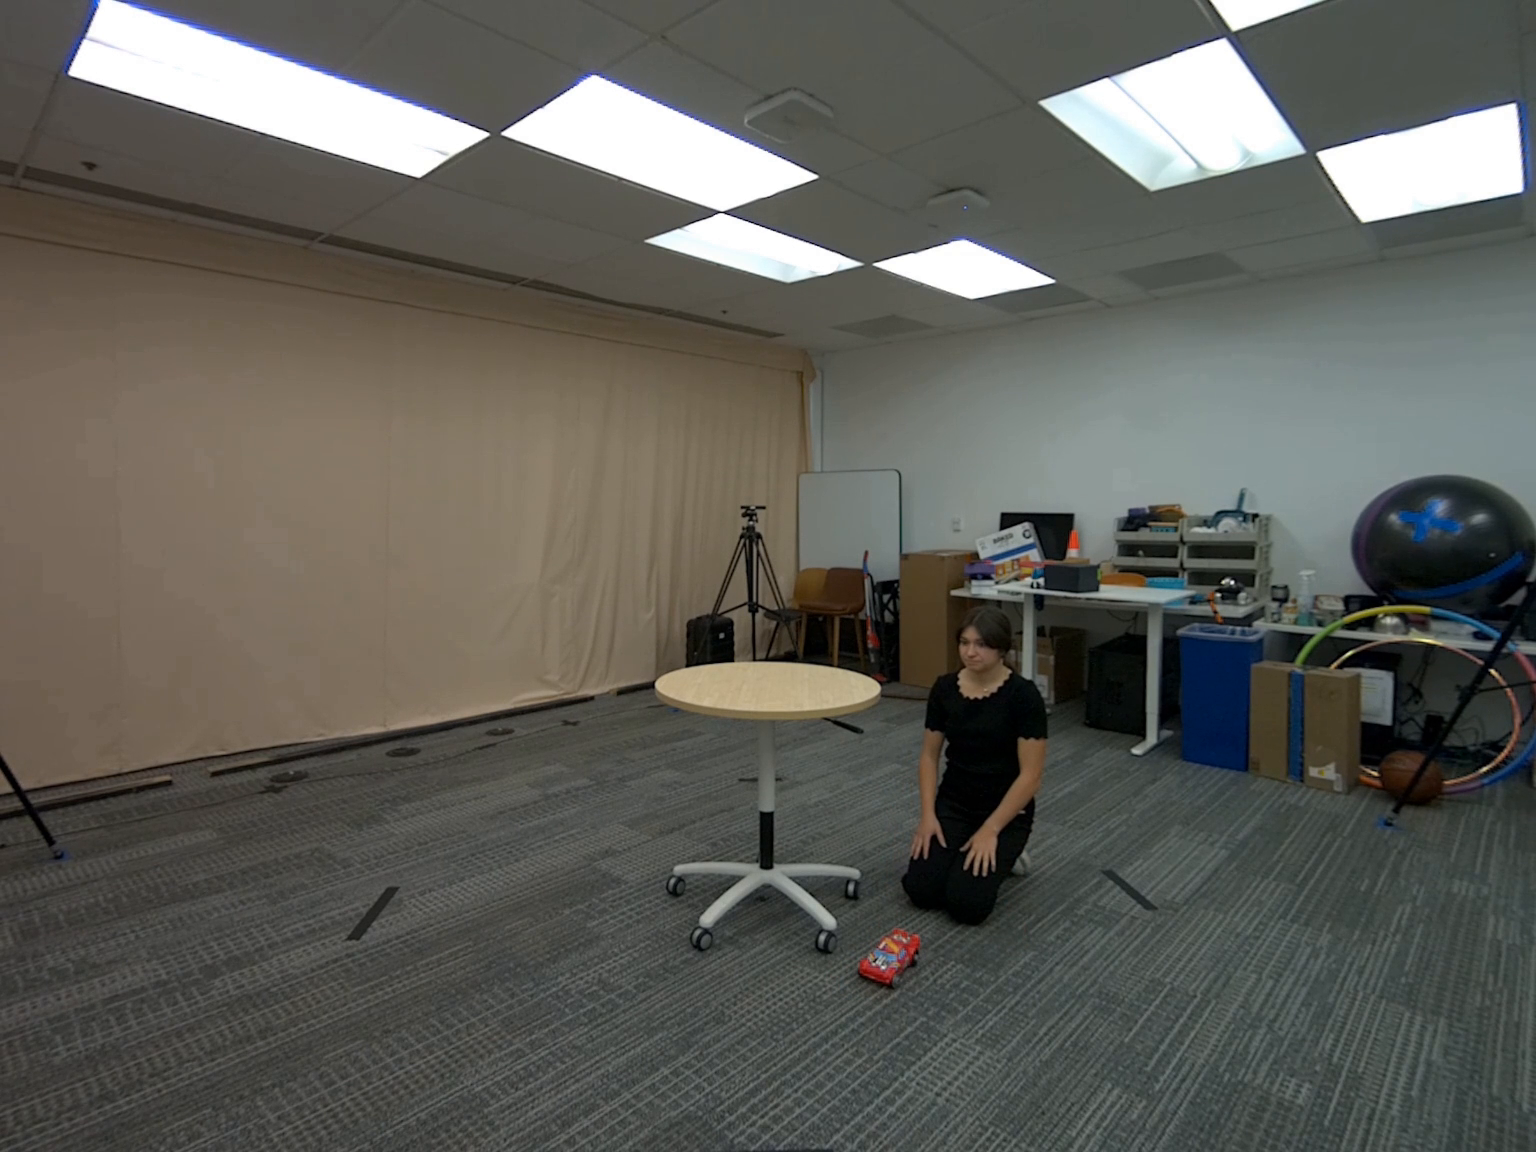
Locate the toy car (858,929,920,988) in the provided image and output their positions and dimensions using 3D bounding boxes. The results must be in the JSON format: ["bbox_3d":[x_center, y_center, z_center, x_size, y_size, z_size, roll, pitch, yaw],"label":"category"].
[{"bbox_3d":[0.383,1.152,2.534,0.134,0.082,0.249,2,16,36],"label":"toy car"}]
